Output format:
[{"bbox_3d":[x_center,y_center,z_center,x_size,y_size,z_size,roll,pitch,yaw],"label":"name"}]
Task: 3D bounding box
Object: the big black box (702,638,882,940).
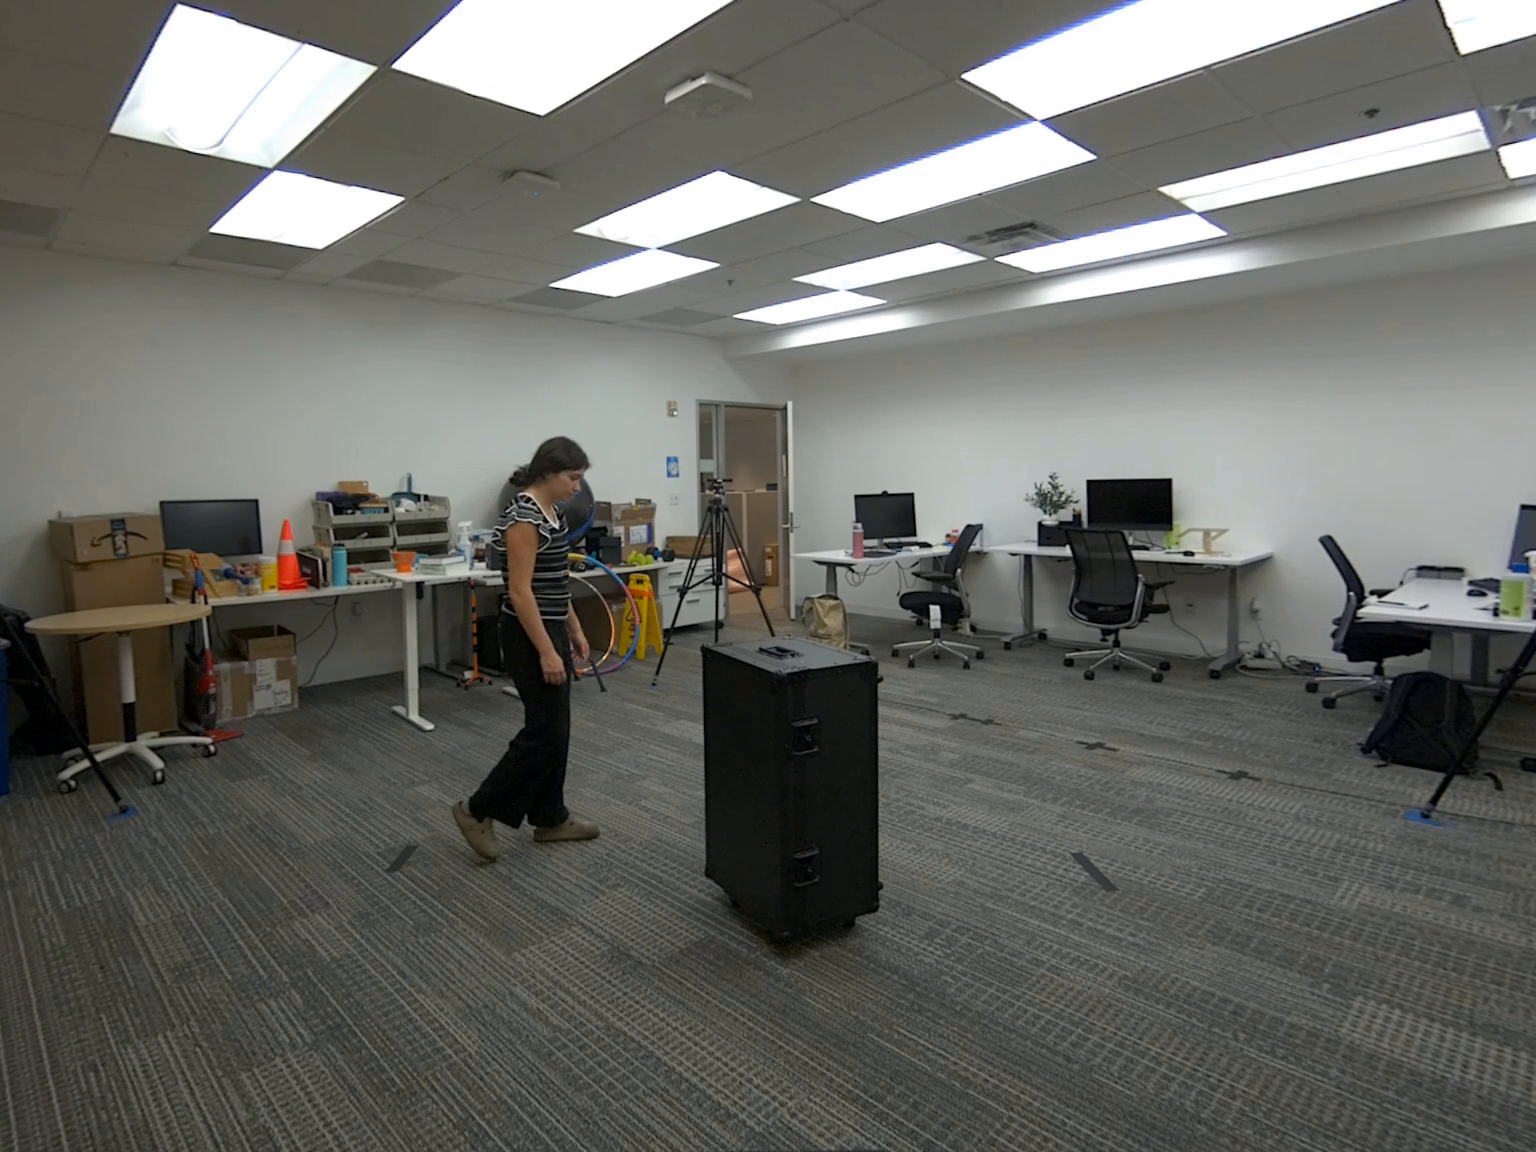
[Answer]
[{"bbox_3d":[0.069,0.660,2.723,0.387,0.859,0.535,-2,4,-30],"label":"big black box"}]
